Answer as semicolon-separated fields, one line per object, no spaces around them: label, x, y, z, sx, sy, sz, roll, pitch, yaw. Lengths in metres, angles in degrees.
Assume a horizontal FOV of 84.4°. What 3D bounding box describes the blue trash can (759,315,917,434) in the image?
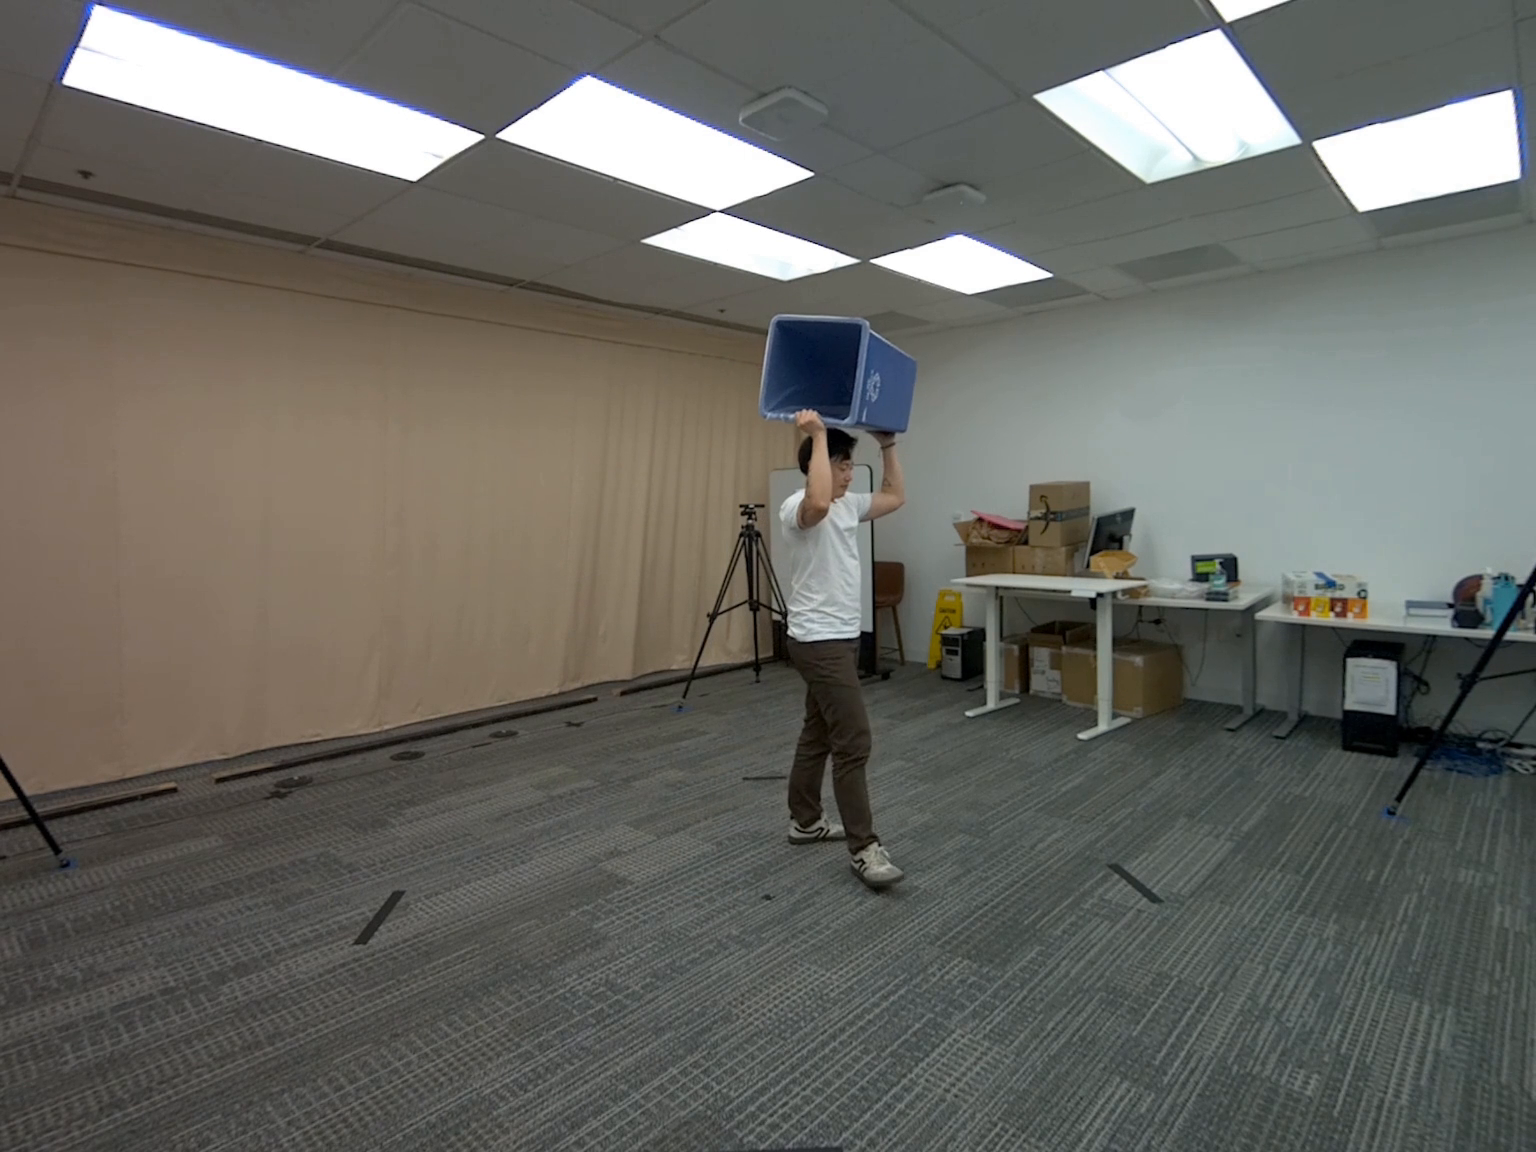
blue trash can;0.316;-0.744;3.233;0.385;0.376;0.695;12;9;27
